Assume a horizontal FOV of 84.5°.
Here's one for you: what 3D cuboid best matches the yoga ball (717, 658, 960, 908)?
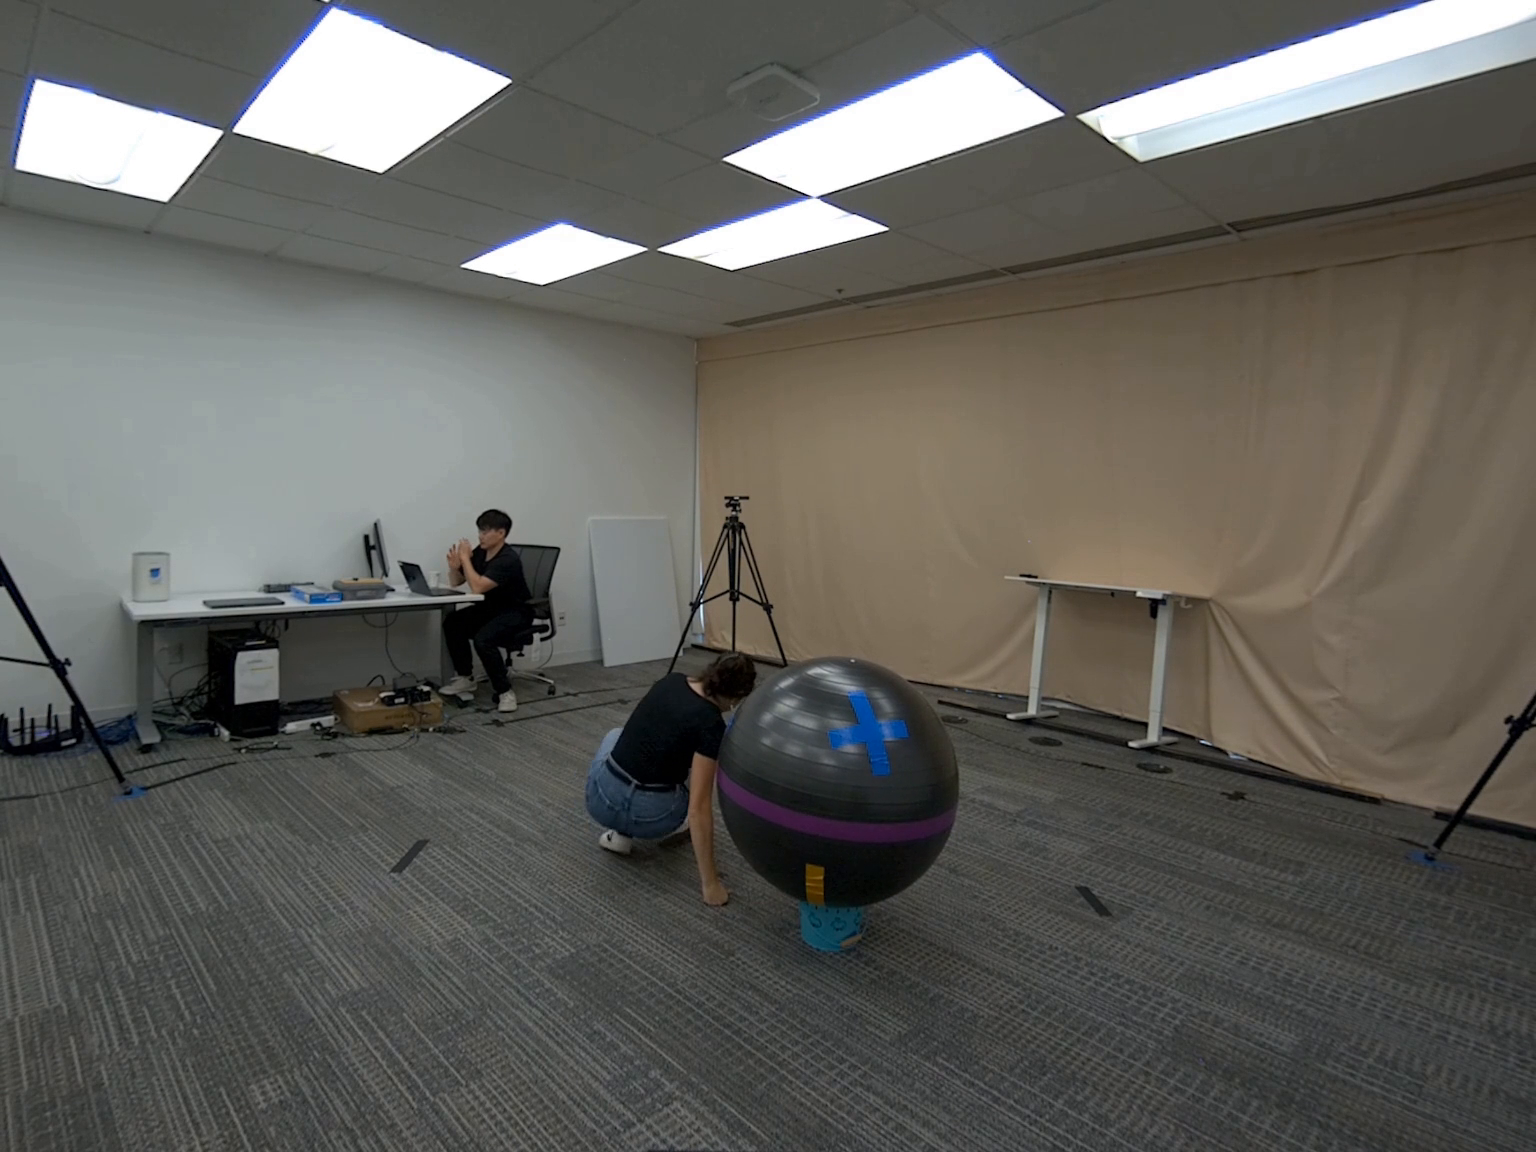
[{"bbox_3d":[0.215,0.642,2.657,0.757,0.756,0.761,1,4,-1],"label":"yoga ball"}]
